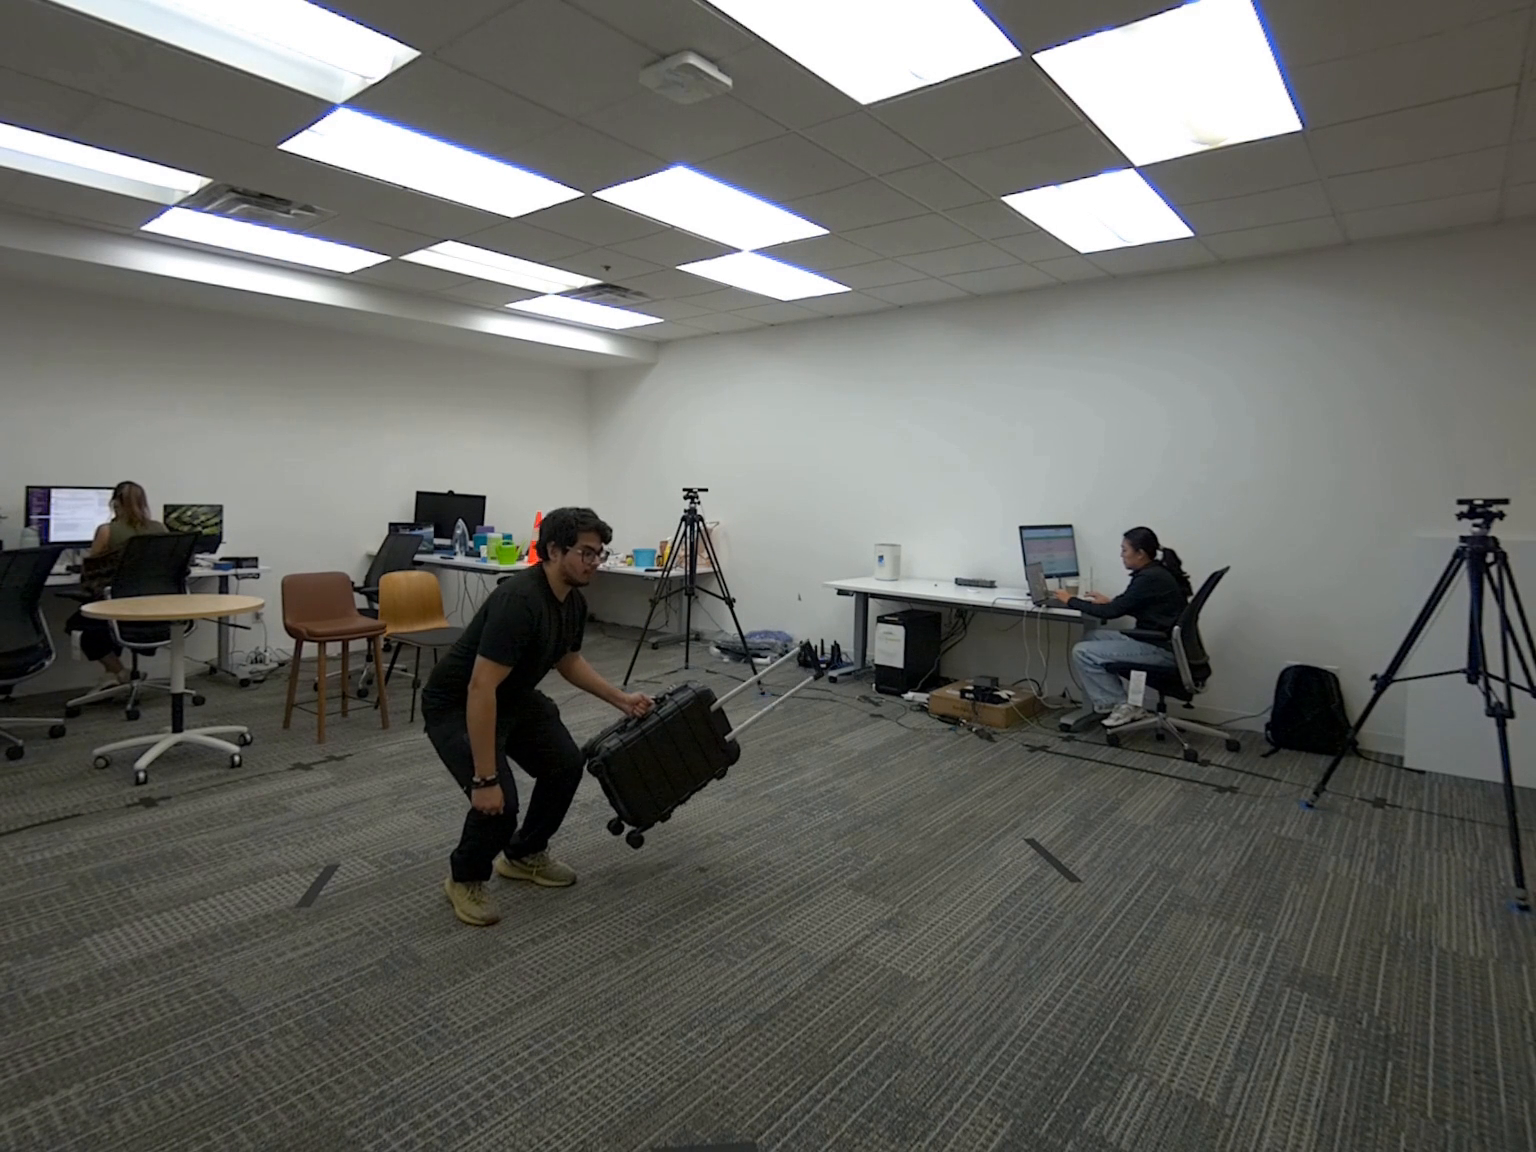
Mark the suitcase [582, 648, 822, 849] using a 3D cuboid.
[{"bbox_3d":[-0.252,0.548,3.225,0.969,0.379,0.263,-34,12,-27],"label":"suitcase"}]
